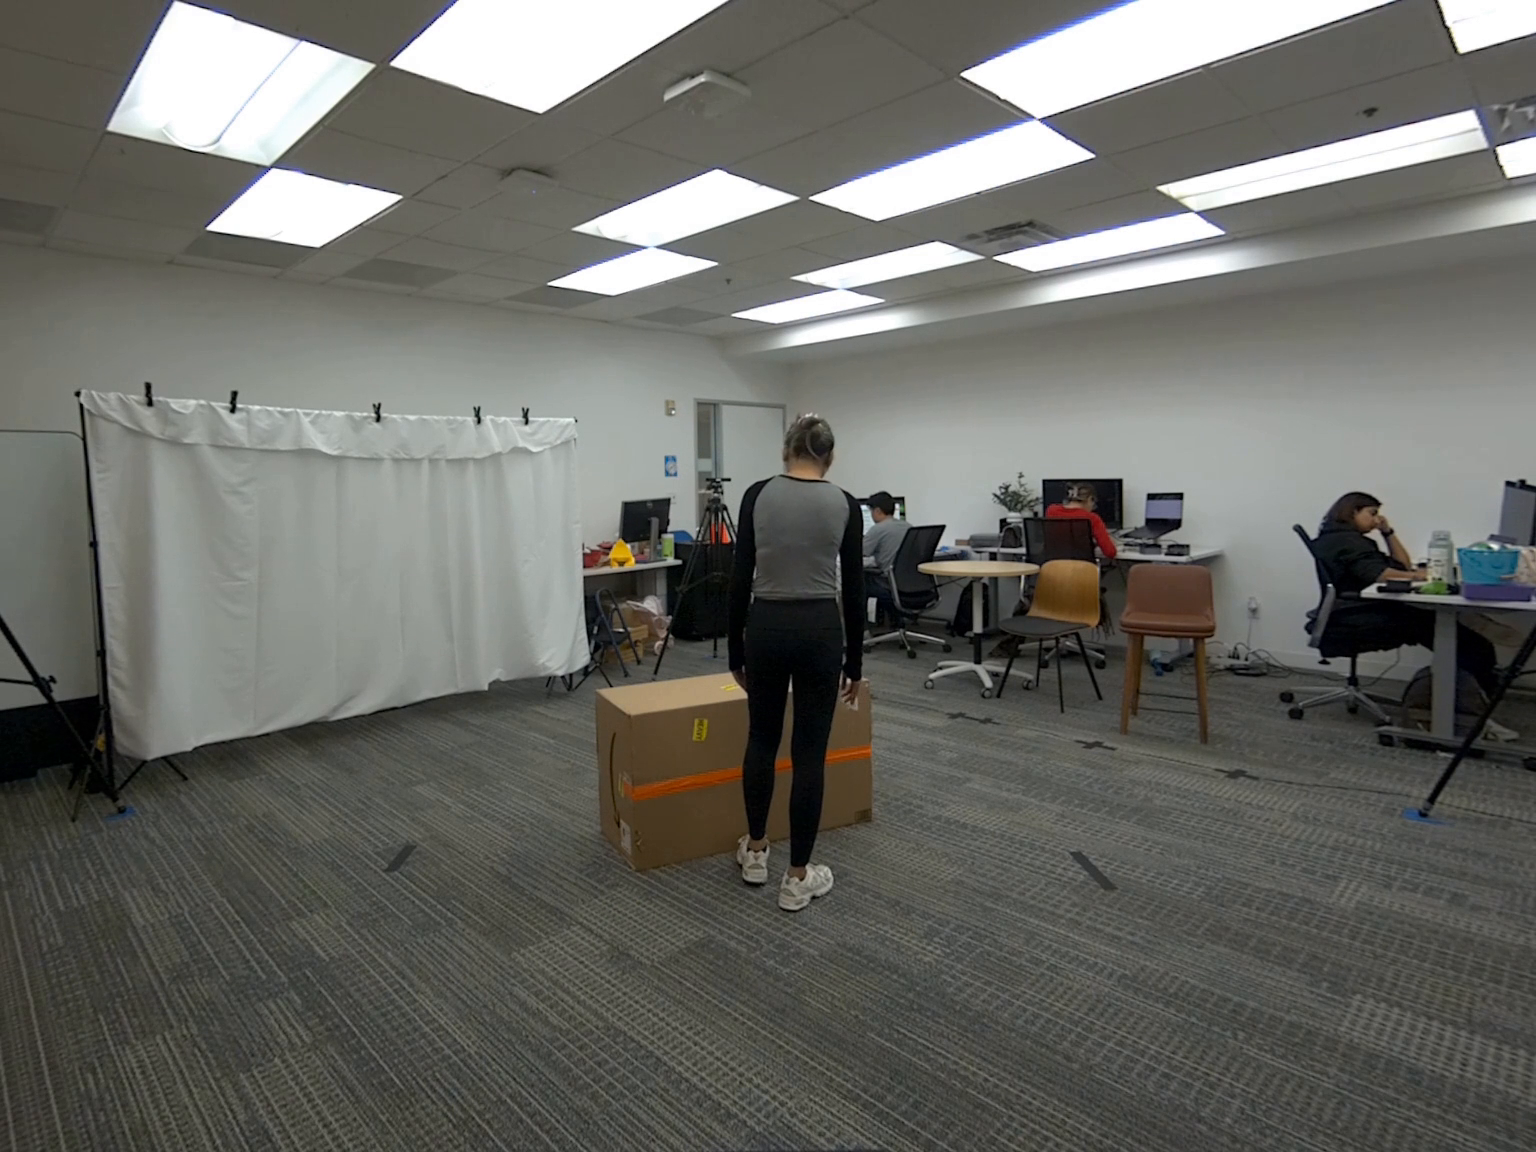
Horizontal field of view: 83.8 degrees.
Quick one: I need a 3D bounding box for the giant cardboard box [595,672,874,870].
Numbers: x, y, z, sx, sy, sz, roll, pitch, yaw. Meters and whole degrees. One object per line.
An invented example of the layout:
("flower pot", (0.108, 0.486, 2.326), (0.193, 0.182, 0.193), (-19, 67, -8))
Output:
("giant cardboard box", (-0.131, 0.718, 3.426), (1.004, 0.575, 0.437), (-4, 5, -25))
